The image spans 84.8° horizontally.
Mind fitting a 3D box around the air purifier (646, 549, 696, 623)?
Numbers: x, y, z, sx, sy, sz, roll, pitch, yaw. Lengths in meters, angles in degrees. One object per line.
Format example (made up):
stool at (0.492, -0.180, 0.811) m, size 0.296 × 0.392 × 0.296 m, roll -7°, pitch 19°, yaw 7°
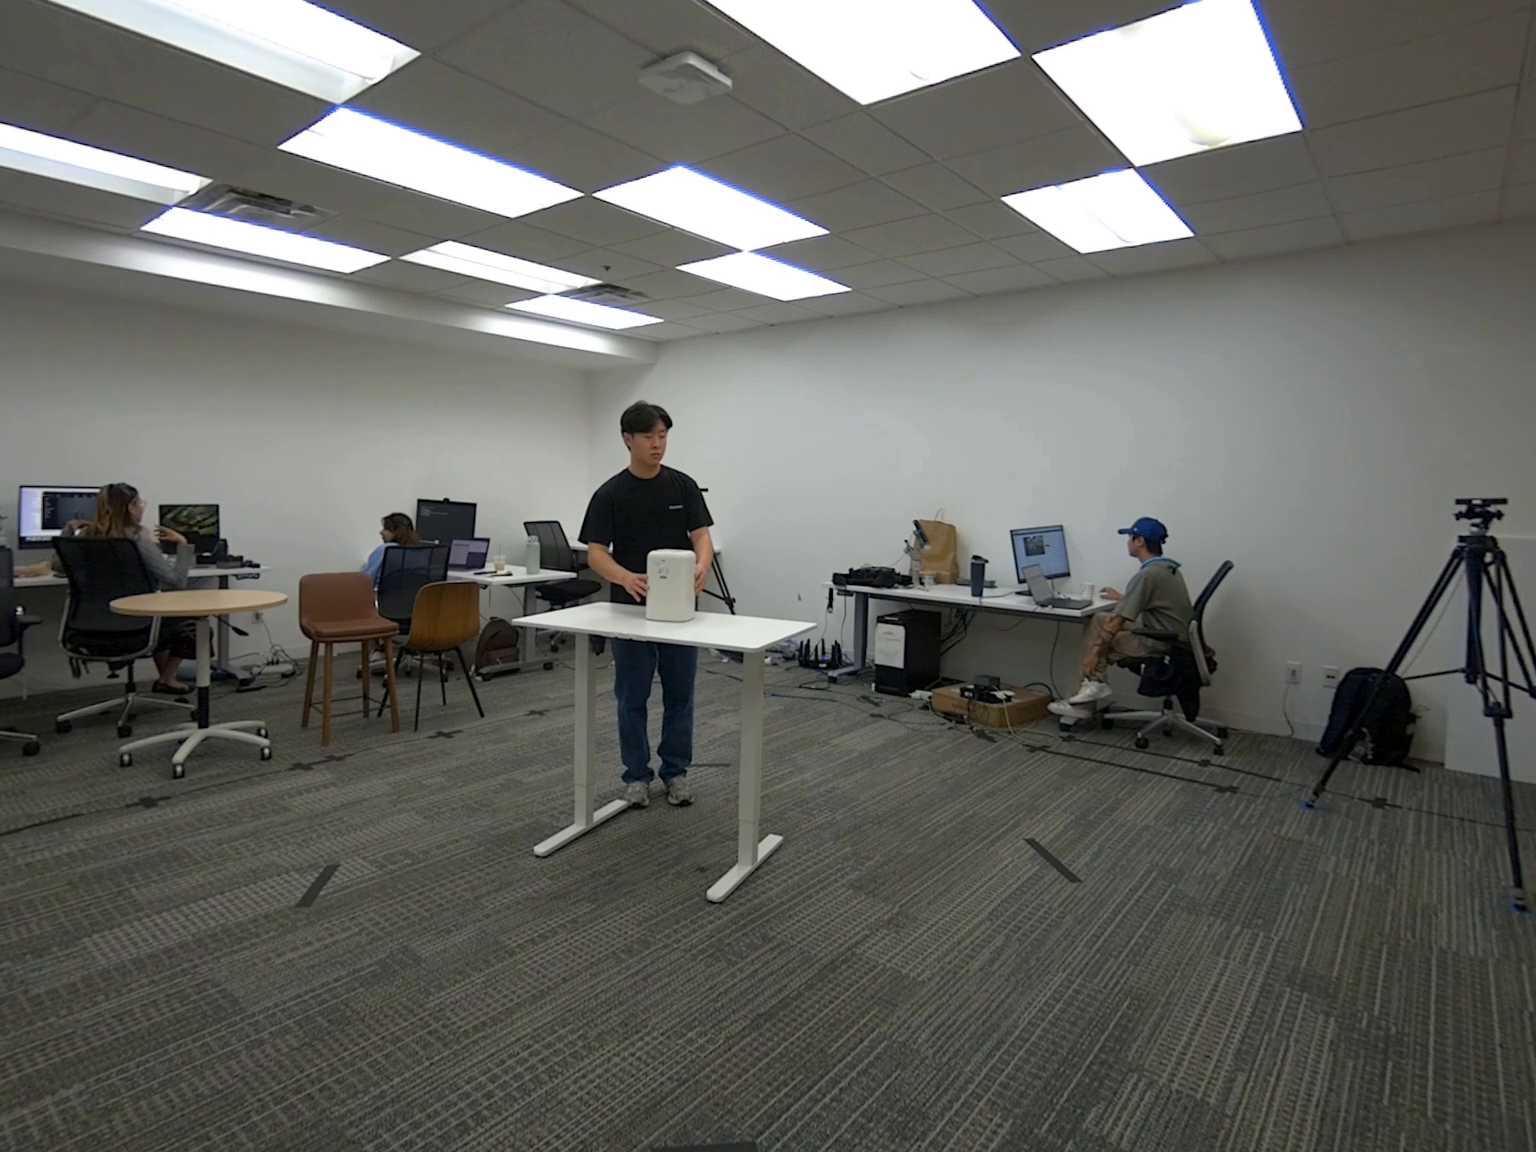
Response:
air purifier at (-0.388, 0.029, 3.305) m, size 0.174 × 0.264 × 0.169 m, roll 2°, pitch 5°, yaw 15°
